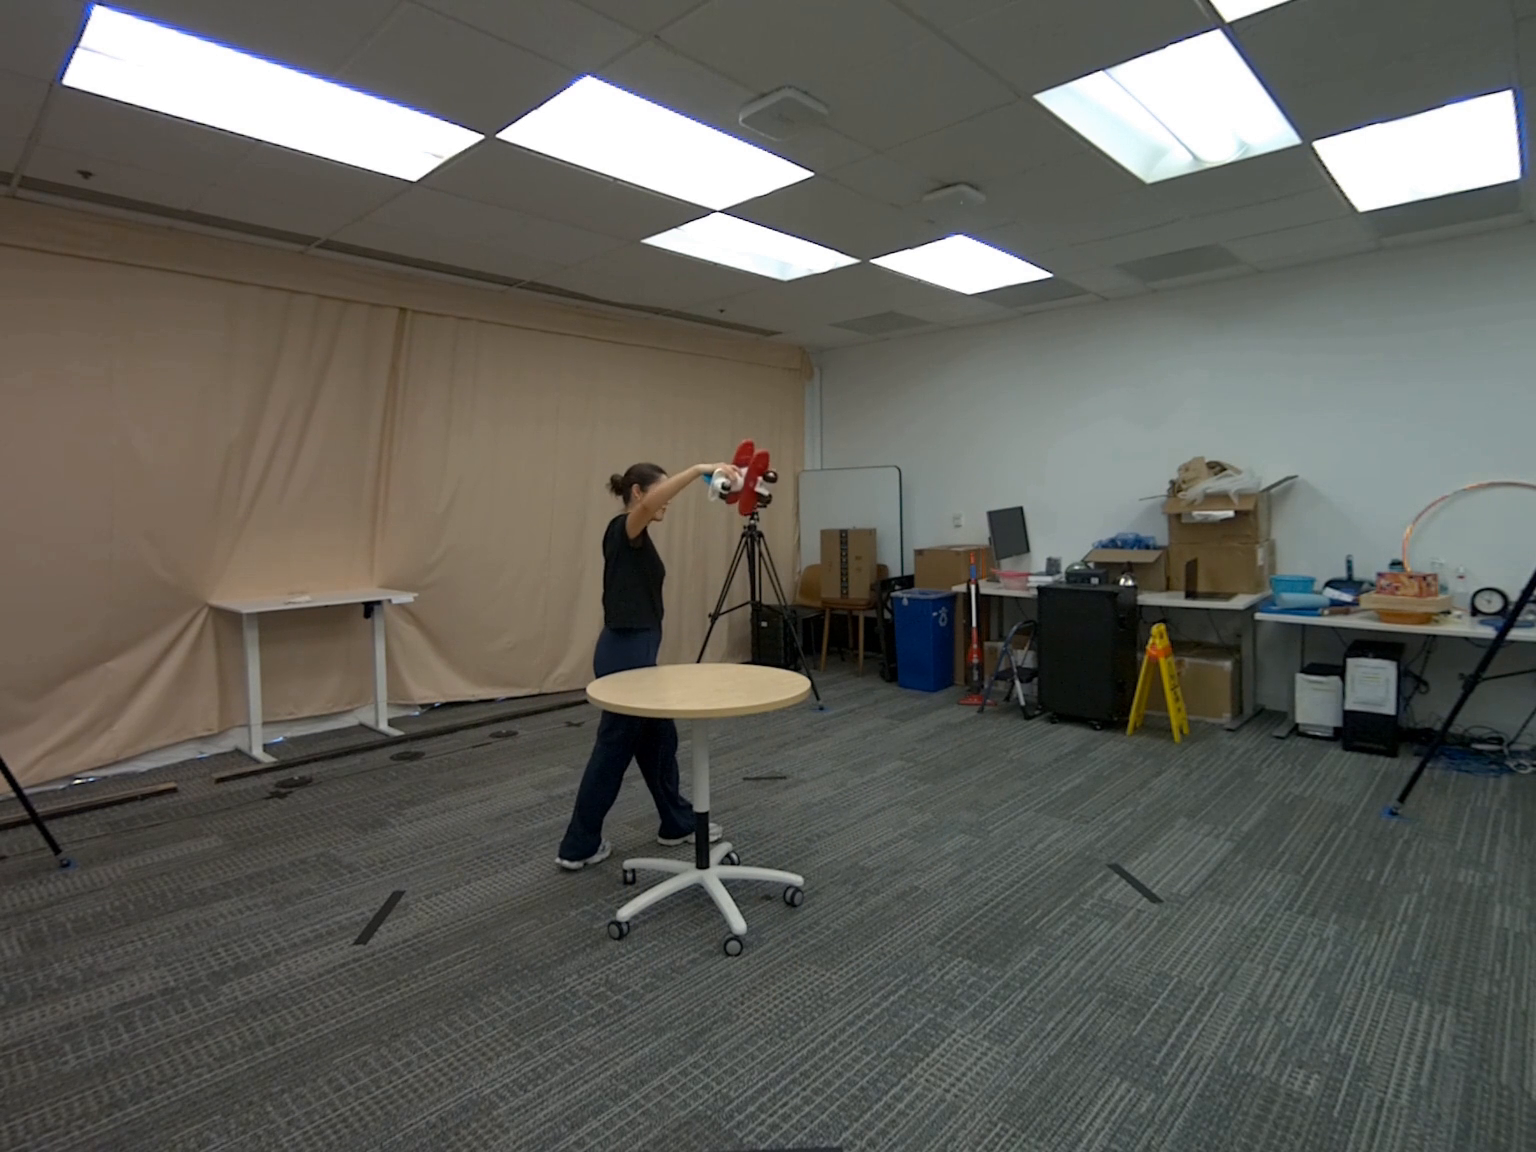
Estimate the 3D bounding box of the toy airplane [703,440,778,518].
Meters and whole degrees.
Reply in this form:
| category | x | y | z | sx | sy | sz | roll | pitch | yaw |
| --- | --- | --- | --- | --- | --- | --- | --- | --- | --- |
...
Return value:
| category | x | y | z | sx | sy | sz | roll | pitch | yaw |
| --- | --- | --- | --- | --- | --- | --- | --- | --- | --- |
| toy airplane | -0.077 | -0.336 | 2.920 | 0.250 | 0.251 | 0.162 | 25 | 18 | -45 |
